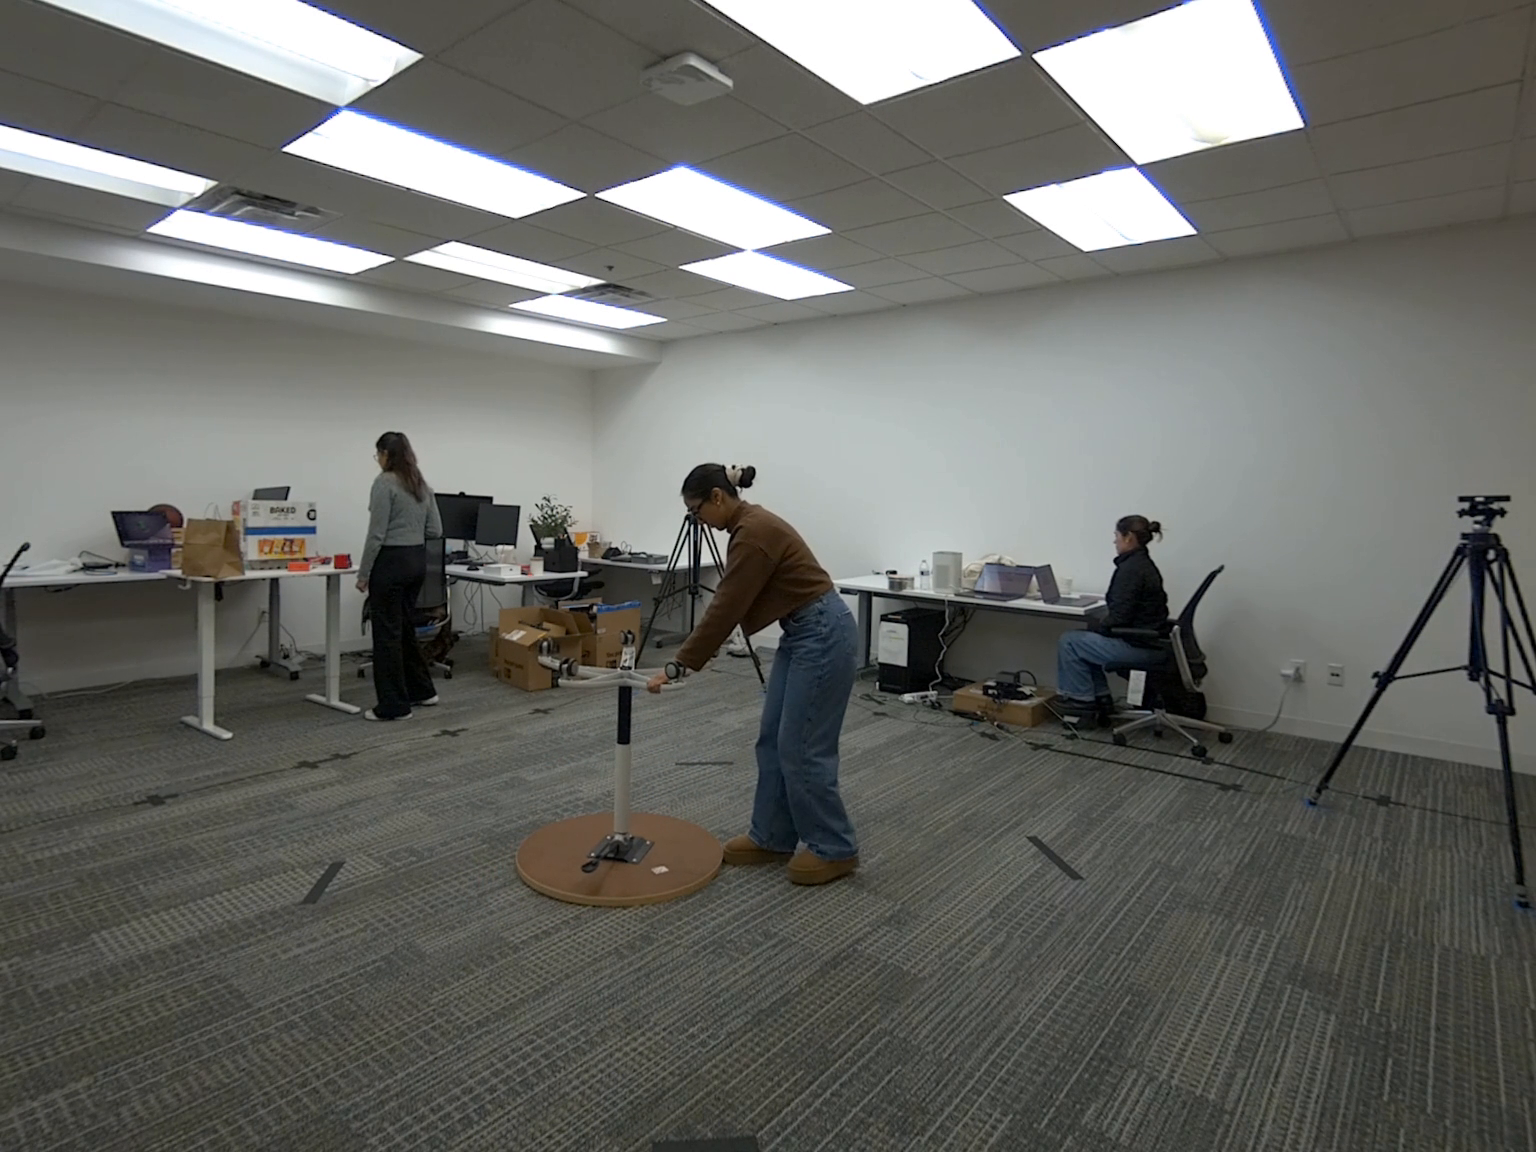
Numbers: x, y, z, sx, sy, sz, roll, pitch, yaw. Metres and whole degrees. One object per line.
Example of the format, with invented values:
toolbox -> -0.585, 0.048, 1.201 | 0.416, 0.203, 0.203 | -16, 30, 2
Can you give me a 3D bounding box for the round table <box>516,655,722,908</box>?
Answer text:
round table -> -0.562, 0.658, 3.168 | 0.763, 0.792, 0.767 | 1, 4, -2
